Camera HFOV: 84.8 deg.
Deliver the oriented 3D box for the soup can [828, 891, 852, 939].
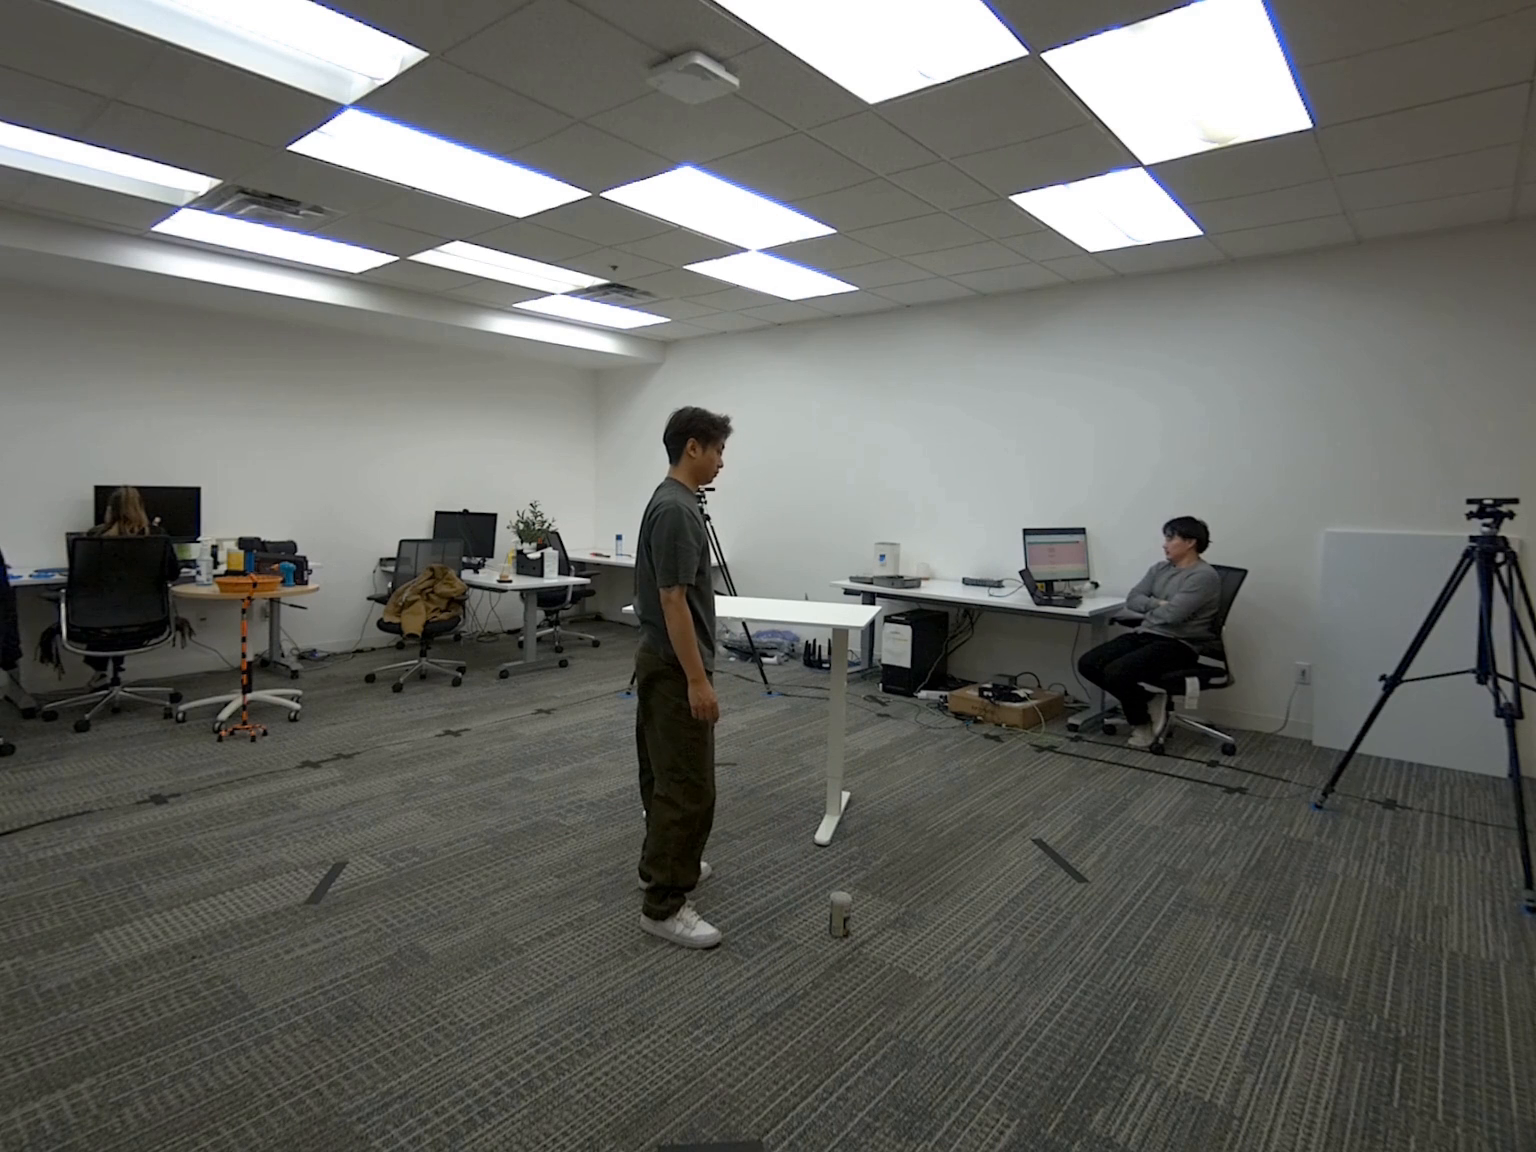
[{"bbox_3d":[0.219,1.070,2.660,0.067,0.121,0.067,6,6,-3],"label":"soup can"}]
